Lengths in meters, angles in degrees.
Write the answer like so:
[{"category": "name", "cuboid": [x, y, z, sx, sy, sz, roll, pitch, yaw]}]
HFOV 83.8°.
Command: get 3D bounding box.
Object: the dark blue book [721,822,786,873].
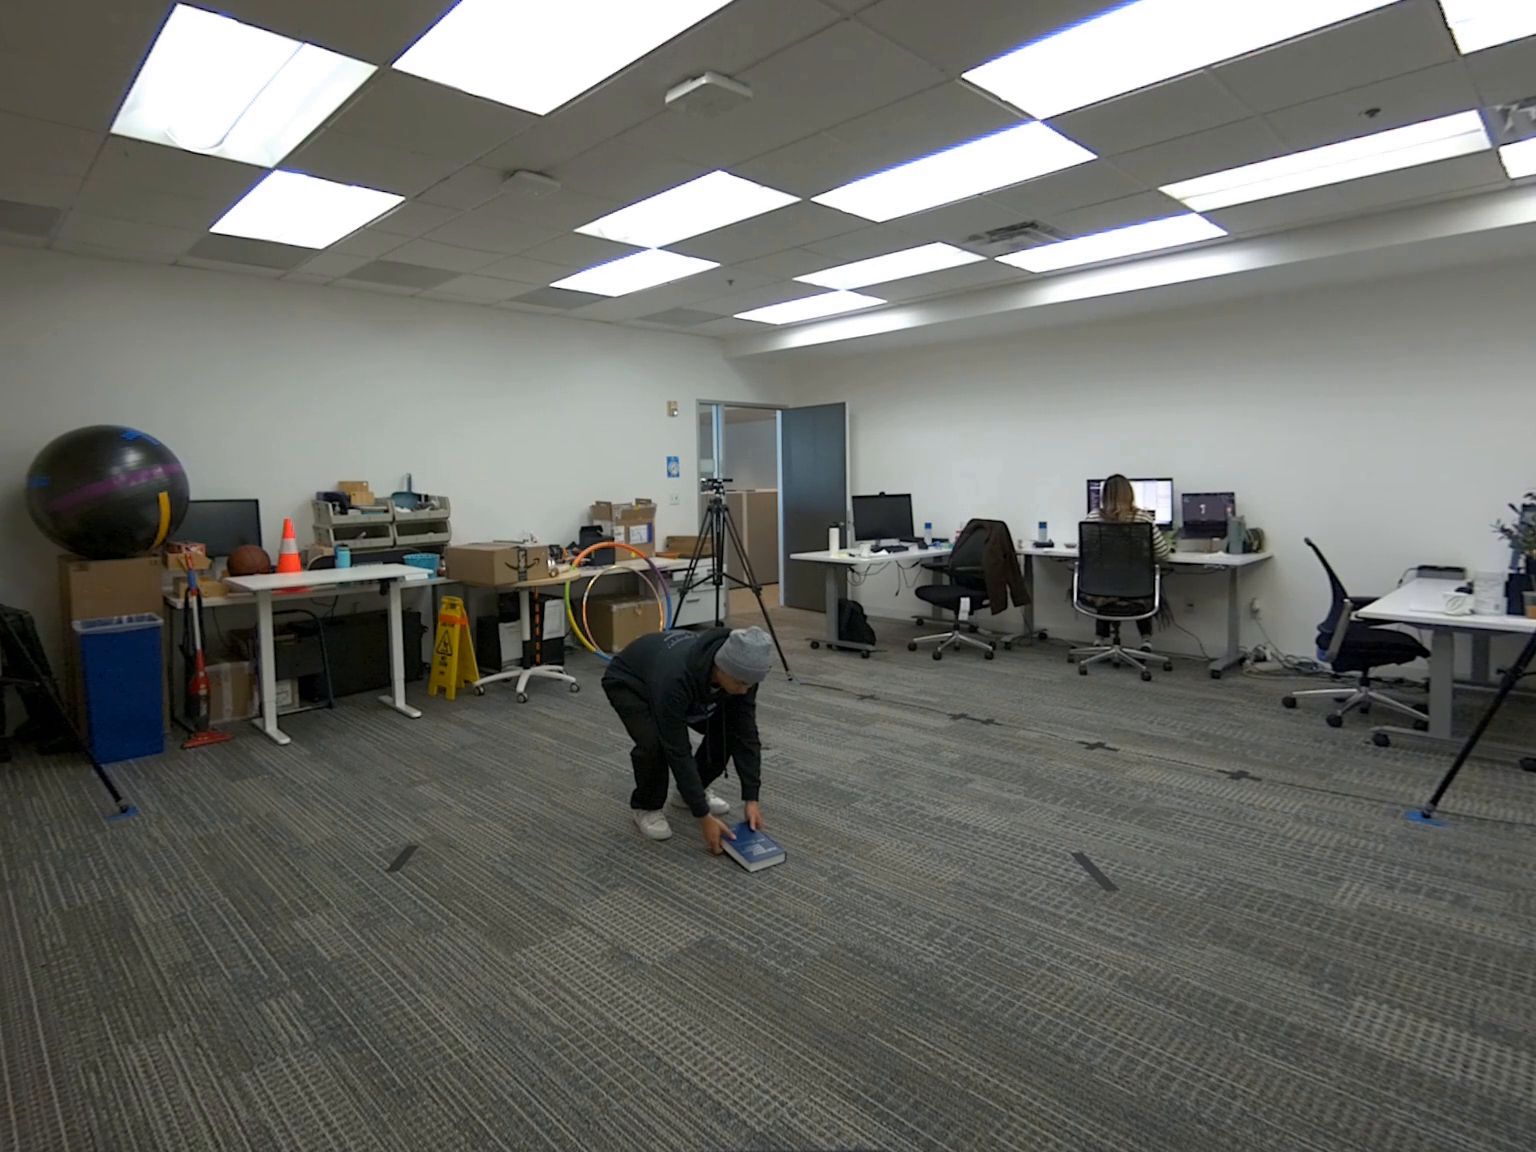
[{"category": "dark blue book", "cuboid": [-0.060, 1.009, 3.163, 0.159, 0.045, 0.253, -5, 13, -34]}]
